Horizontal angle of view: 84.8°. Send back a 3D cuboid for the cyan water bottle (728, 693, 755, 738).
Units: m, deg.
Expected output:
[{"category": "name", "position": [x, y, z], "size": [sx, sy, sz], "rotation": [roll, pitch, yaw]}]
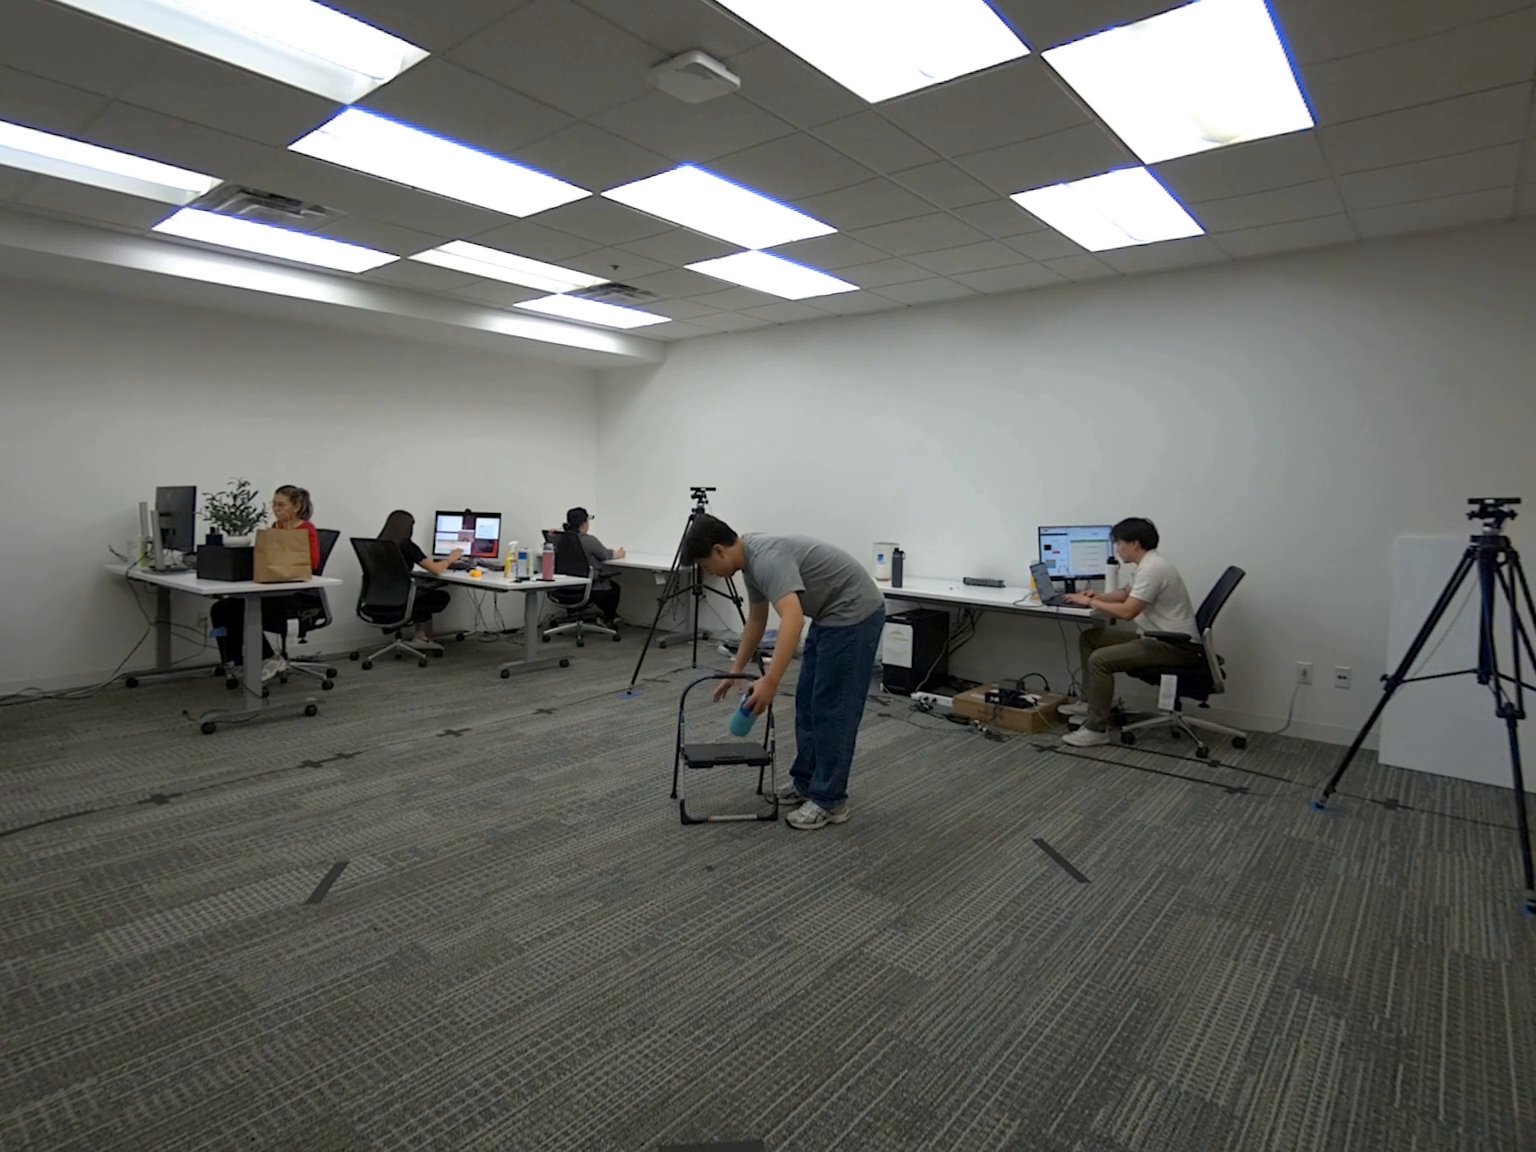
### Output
[{"category": "cyan water bottle", "position": [-0.097, 0.512, 3.292], "size": [0.091, 0.095, 0.279], "rotation": [1, -37, -17]}]
